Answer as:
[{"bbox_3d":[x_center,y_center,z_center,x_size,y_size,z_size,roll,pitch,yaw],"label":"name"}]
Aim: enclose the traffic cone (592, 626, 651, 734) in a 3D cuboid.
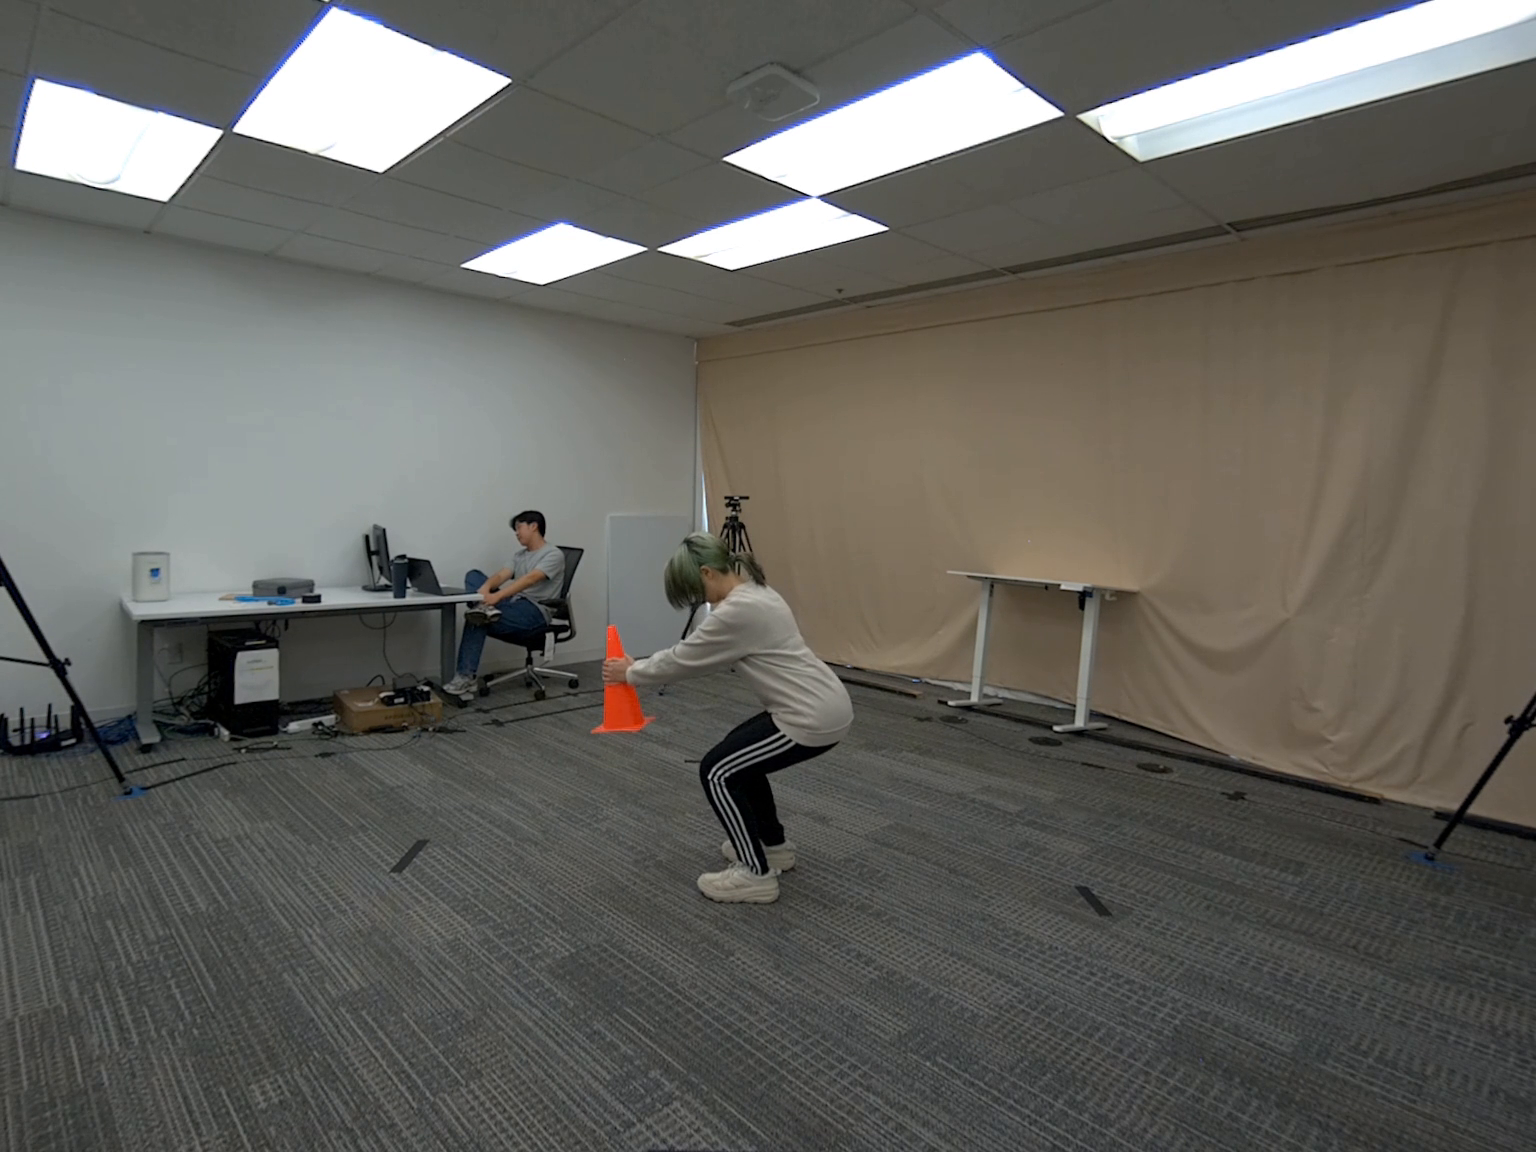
[{"bbox_3d":[-0.574,0.378,3.218,0.206,0.383,0.202,-5,1,18],"label":"traffic cone"}]
